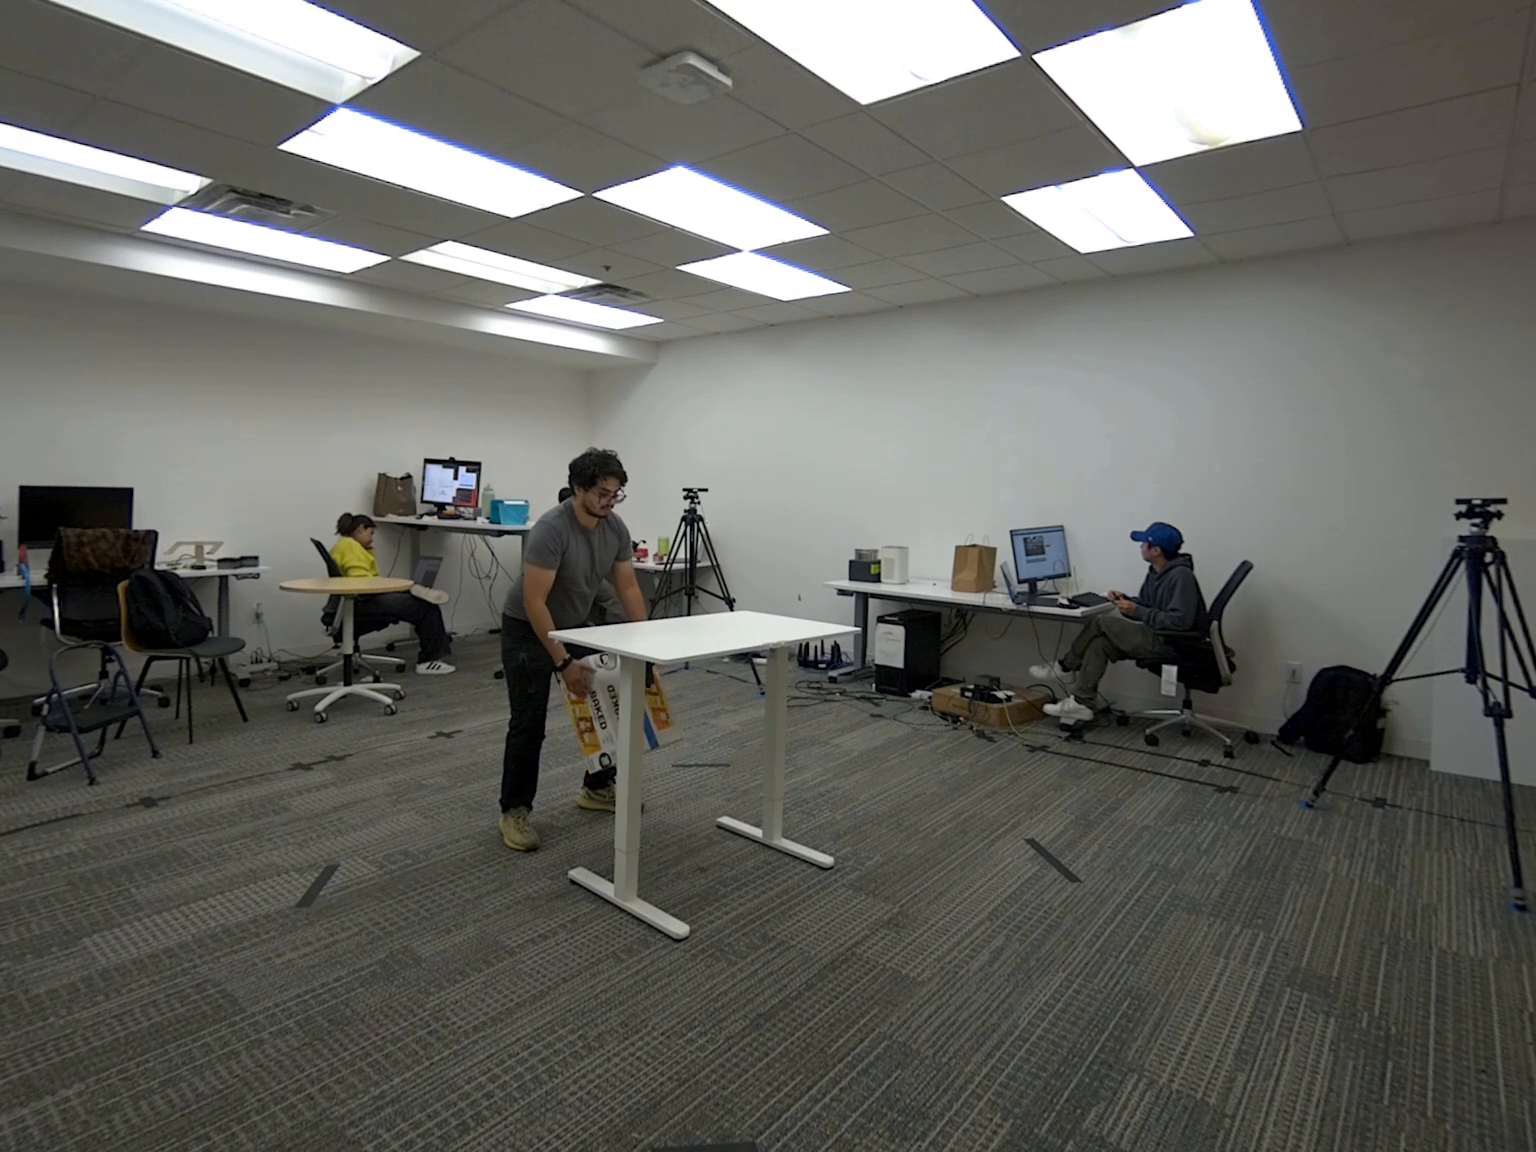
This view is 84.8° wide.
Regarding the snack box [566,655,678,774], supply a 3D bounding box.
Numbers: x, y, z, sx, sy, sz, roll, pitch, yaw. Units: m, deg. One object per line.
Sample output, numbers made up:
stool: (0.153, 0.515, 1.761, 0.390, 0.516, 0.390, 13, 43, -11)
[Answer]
snack box: (-0.595, 0.511, 3.329, 0.208, 0.412, 0.331, -30, -14, 32)
